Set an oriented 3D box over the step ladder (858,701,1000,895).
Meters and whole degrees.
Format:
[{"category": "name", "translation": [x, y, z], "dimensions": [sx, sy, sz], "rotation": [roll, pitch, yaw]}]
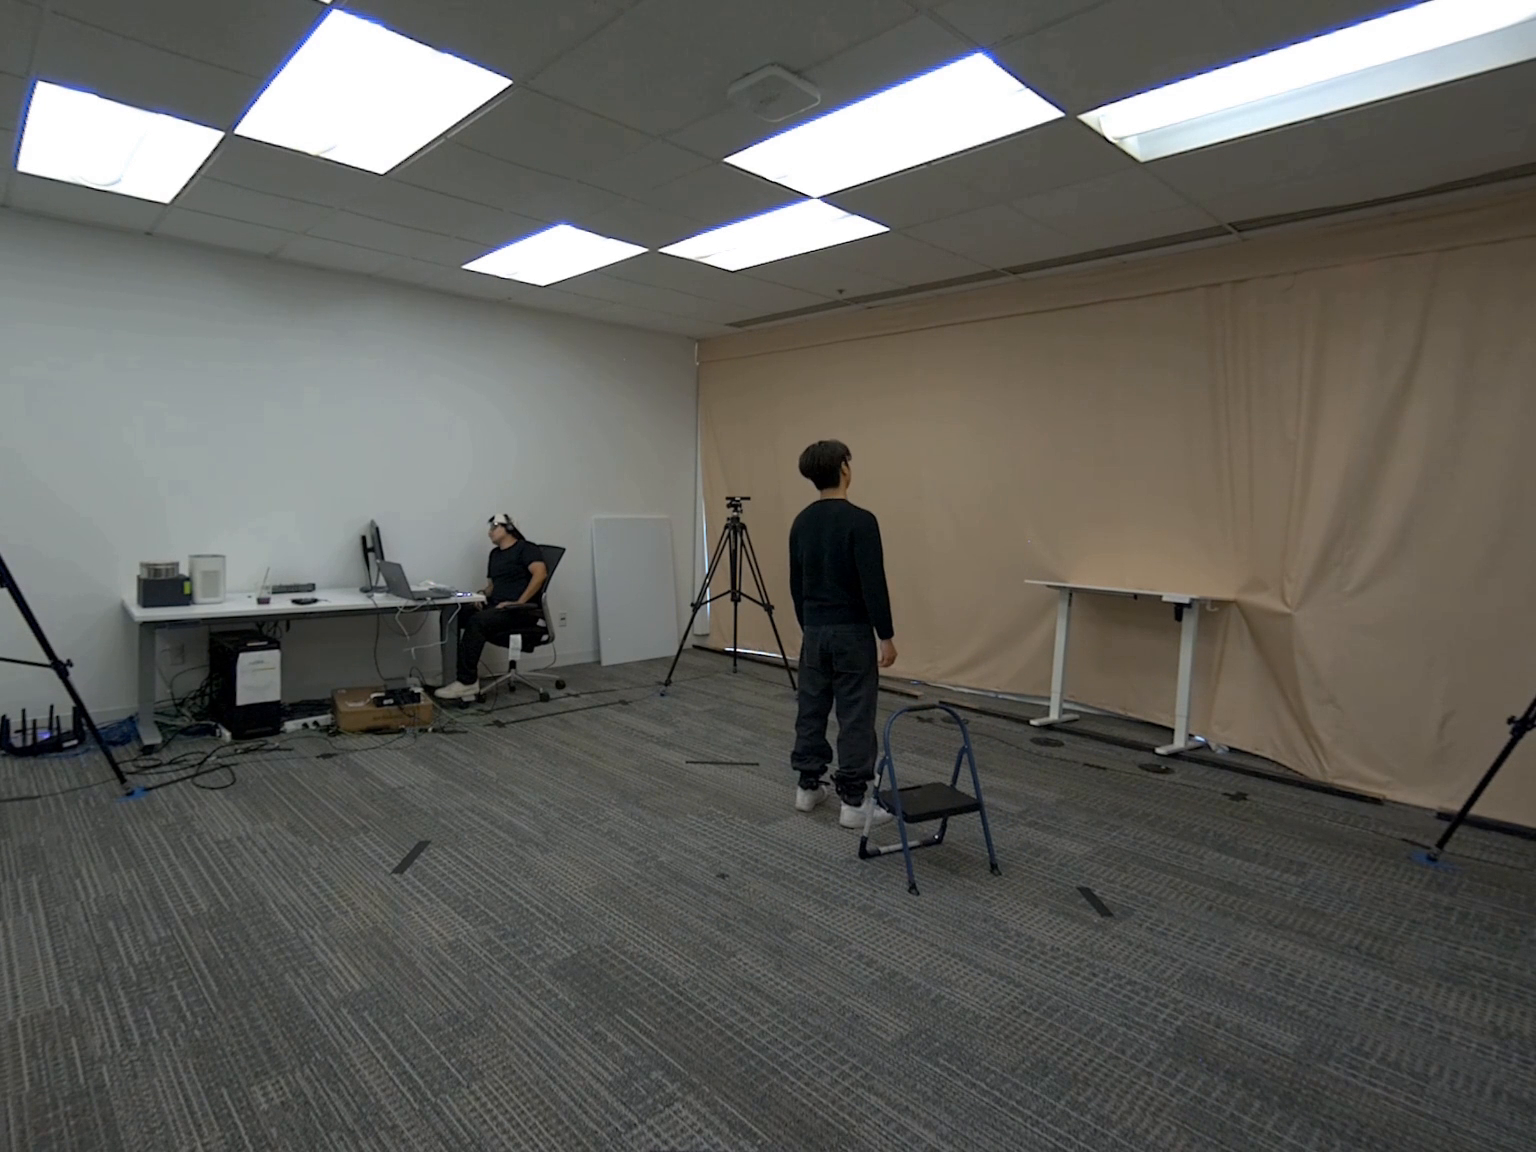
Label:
[{"category": "step ladder", "translation": [0.614, 0.808, 3.222], "dimensions": [0.422, 0.605, 0.357], "rotation": [0, 3, -29]}]
